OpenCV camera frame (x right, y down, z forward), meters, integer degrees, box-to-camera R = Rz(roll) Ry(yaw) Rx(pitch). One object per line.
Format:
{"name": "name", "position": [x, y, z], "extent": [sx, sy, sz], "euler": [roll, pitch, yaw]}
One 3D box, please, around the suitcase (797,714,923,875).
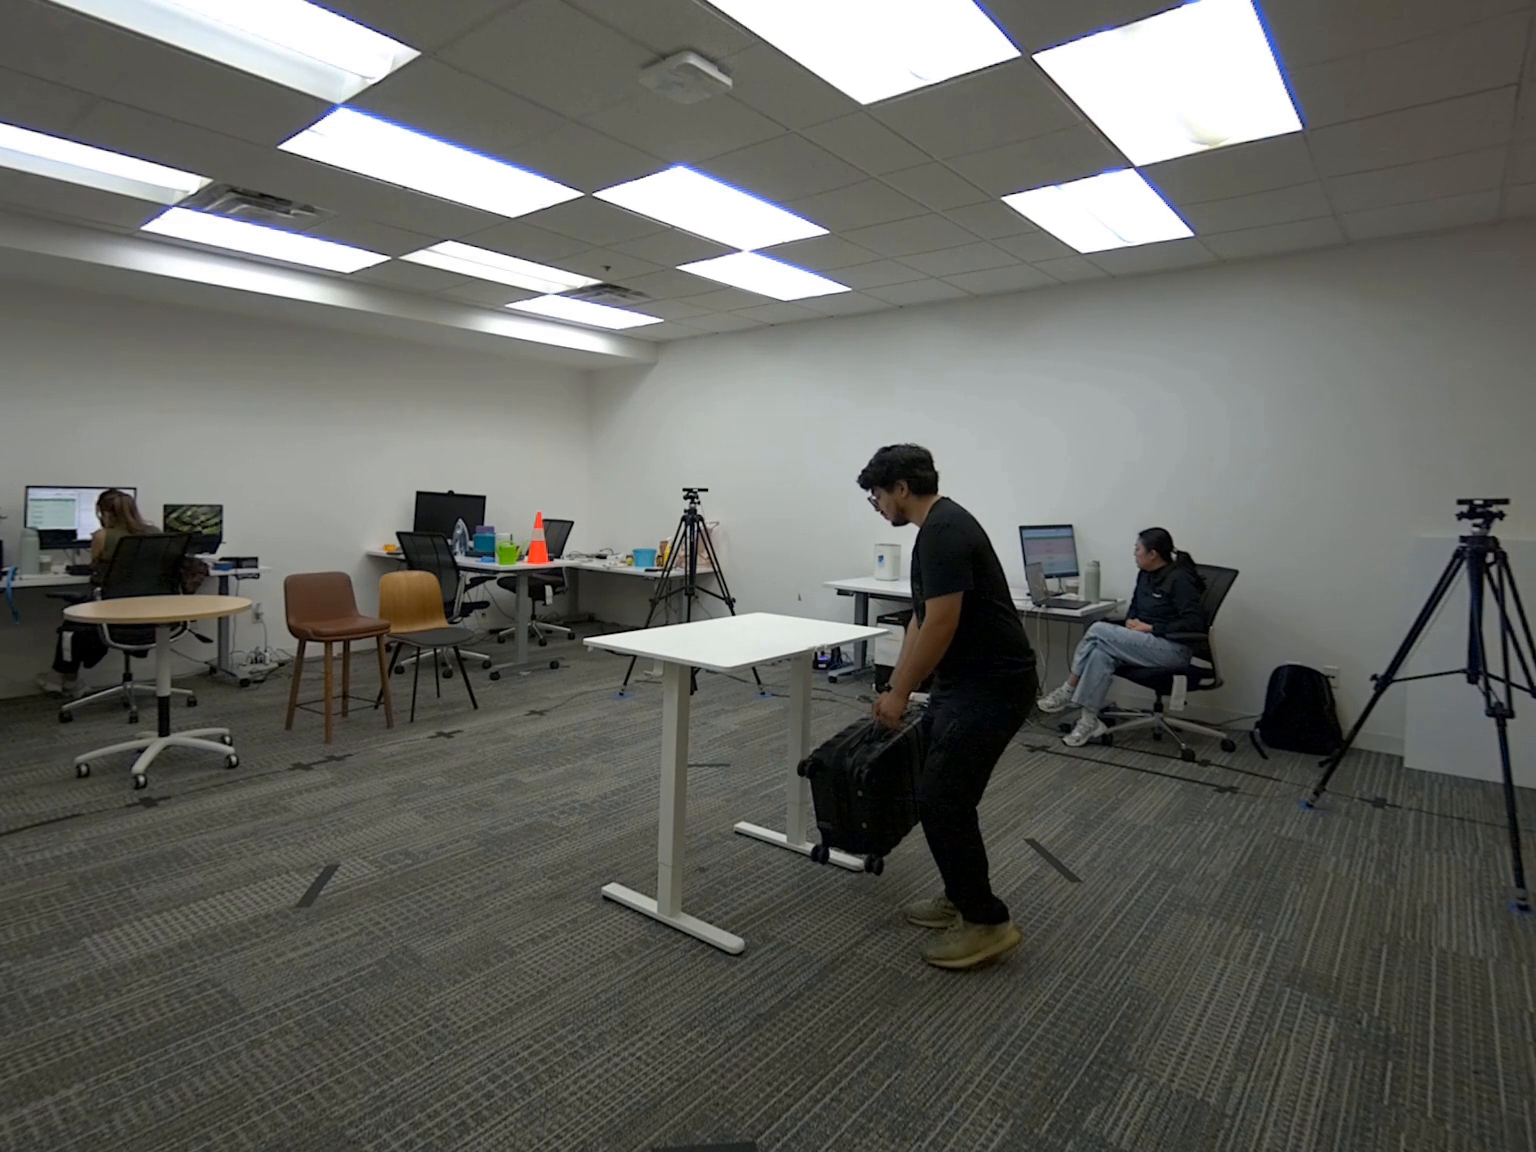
{"name": "suitcase", "position": [0.358, 0.689, 2.898], "extent": [0.255, 0.372, 0.538], "euler": [-4, 10, 37]}
